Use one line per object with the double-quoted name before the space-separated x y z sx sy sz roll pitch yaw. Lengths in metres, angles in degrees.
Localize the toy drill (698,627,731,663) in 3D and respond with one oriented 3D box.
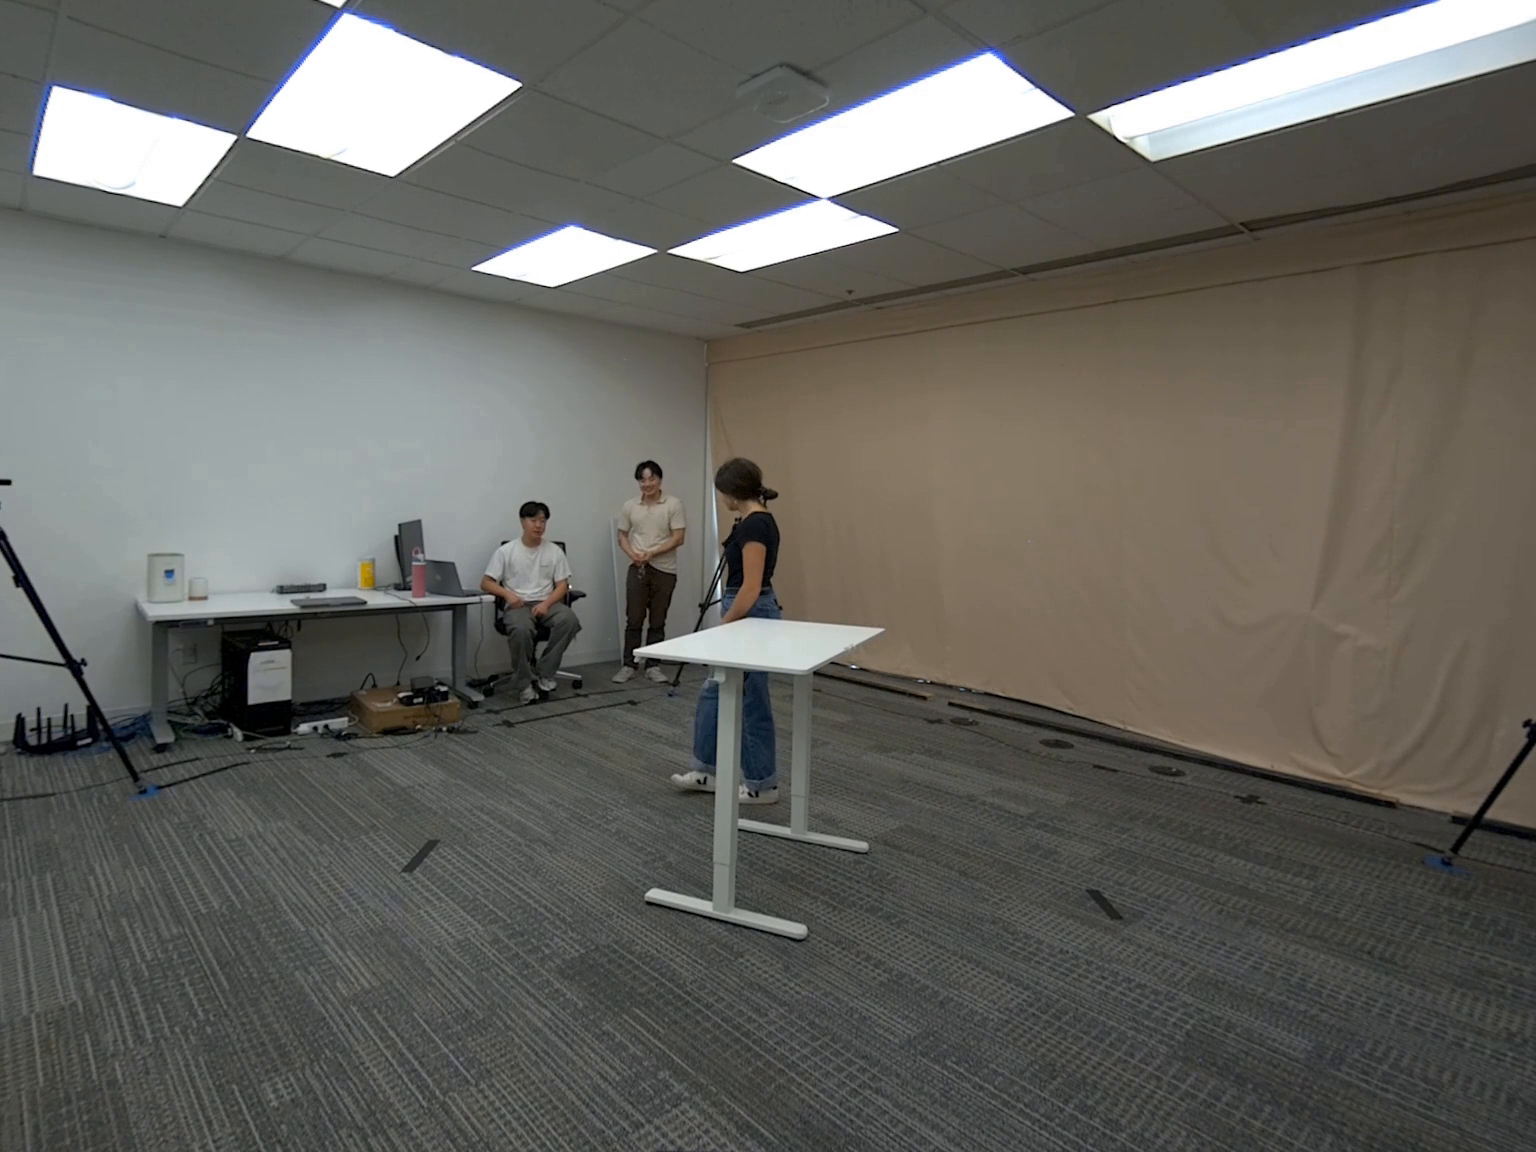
"toy drill" -0.261 0.333 4.102 0.145 0.166 0.063 -2 43 -7
